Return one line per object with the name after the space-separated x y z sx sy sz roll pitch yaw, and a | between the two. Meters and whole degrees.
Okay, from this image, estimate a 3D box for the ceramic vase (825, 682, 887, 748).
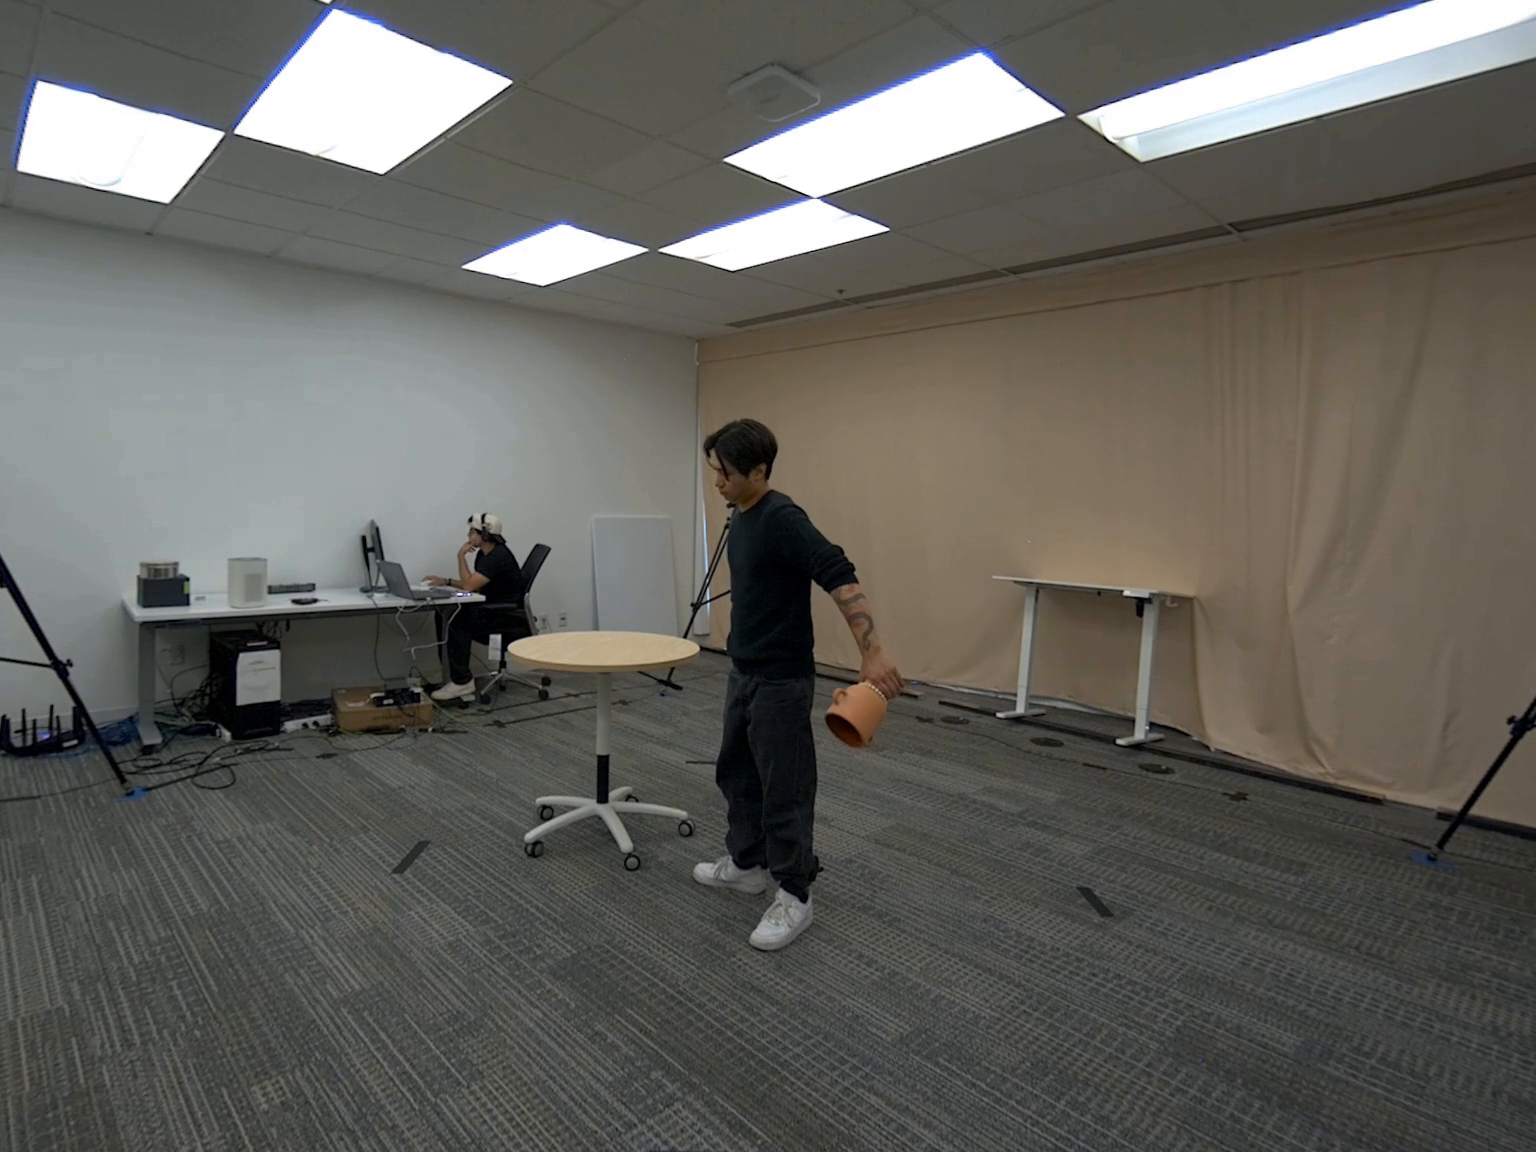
0.260 0.346 2.333 0.138 0.155 0.219 32 57 26 | ceramic vase
